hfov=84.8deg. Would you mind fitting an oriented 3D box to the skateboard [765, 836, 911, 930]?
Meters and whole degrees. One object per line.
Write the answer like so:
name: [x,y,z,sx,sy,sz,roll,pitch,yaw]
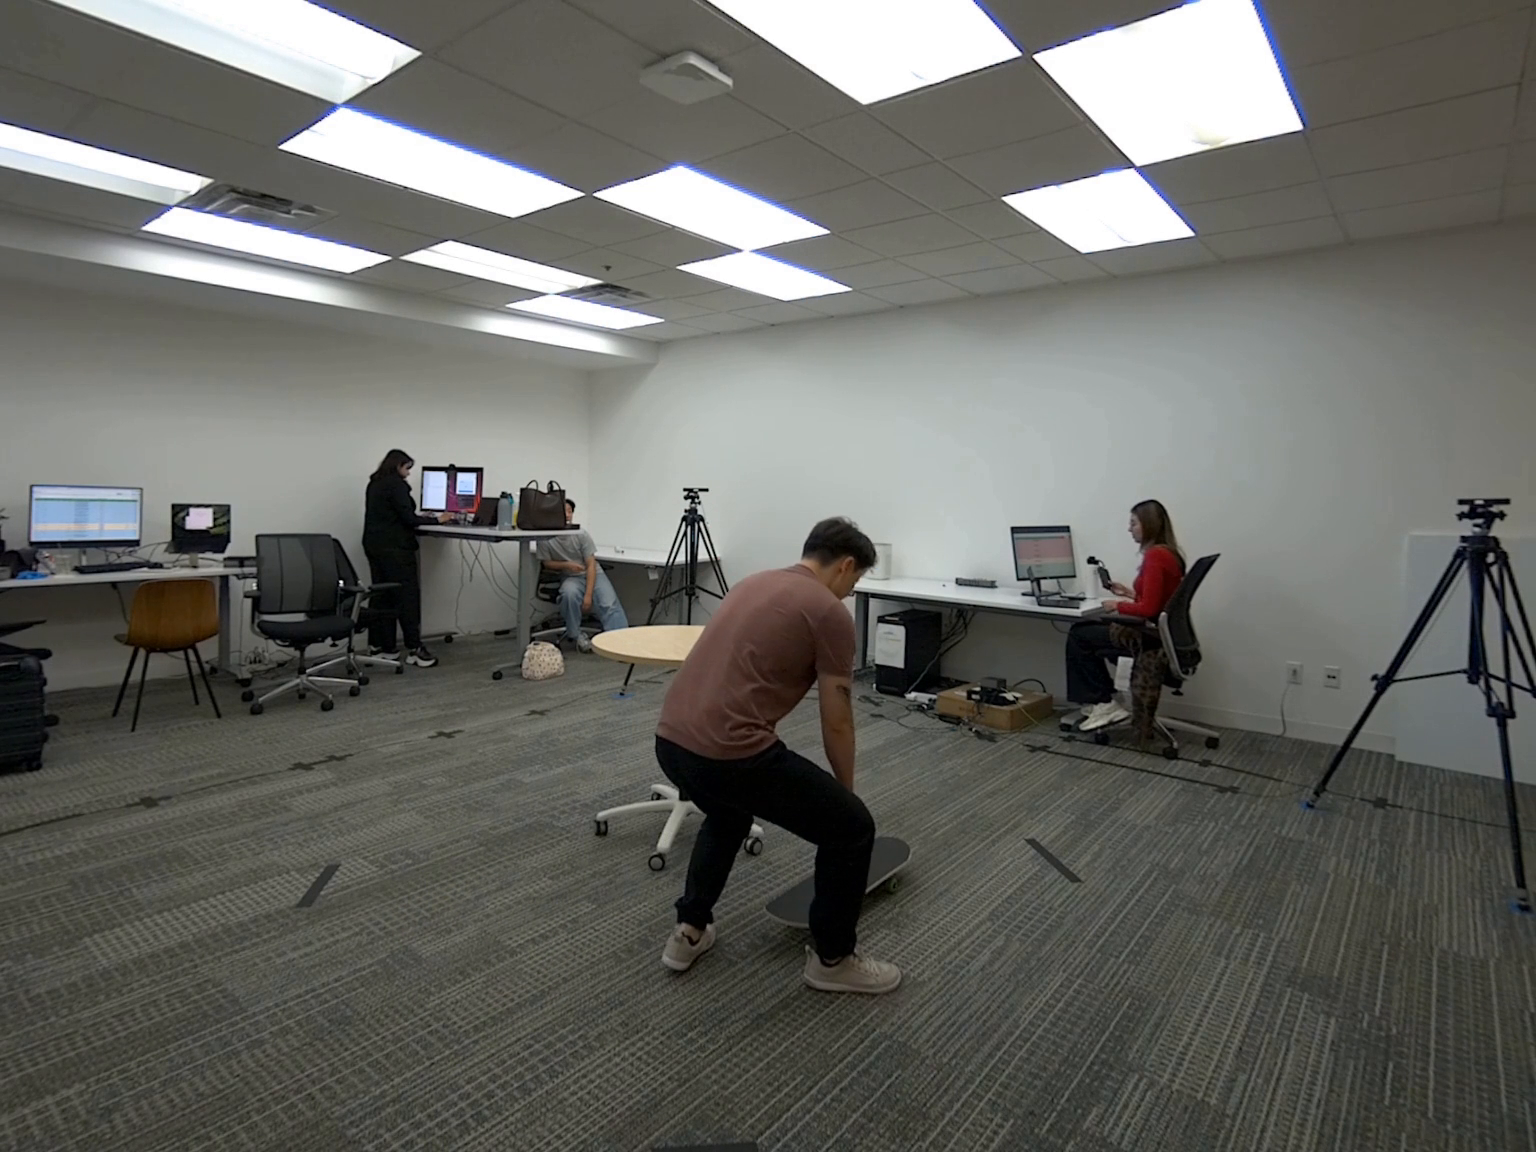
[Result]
skateboard: [0.256,1.052,2.858,0.200,0.110,0.763,6,8,36]
